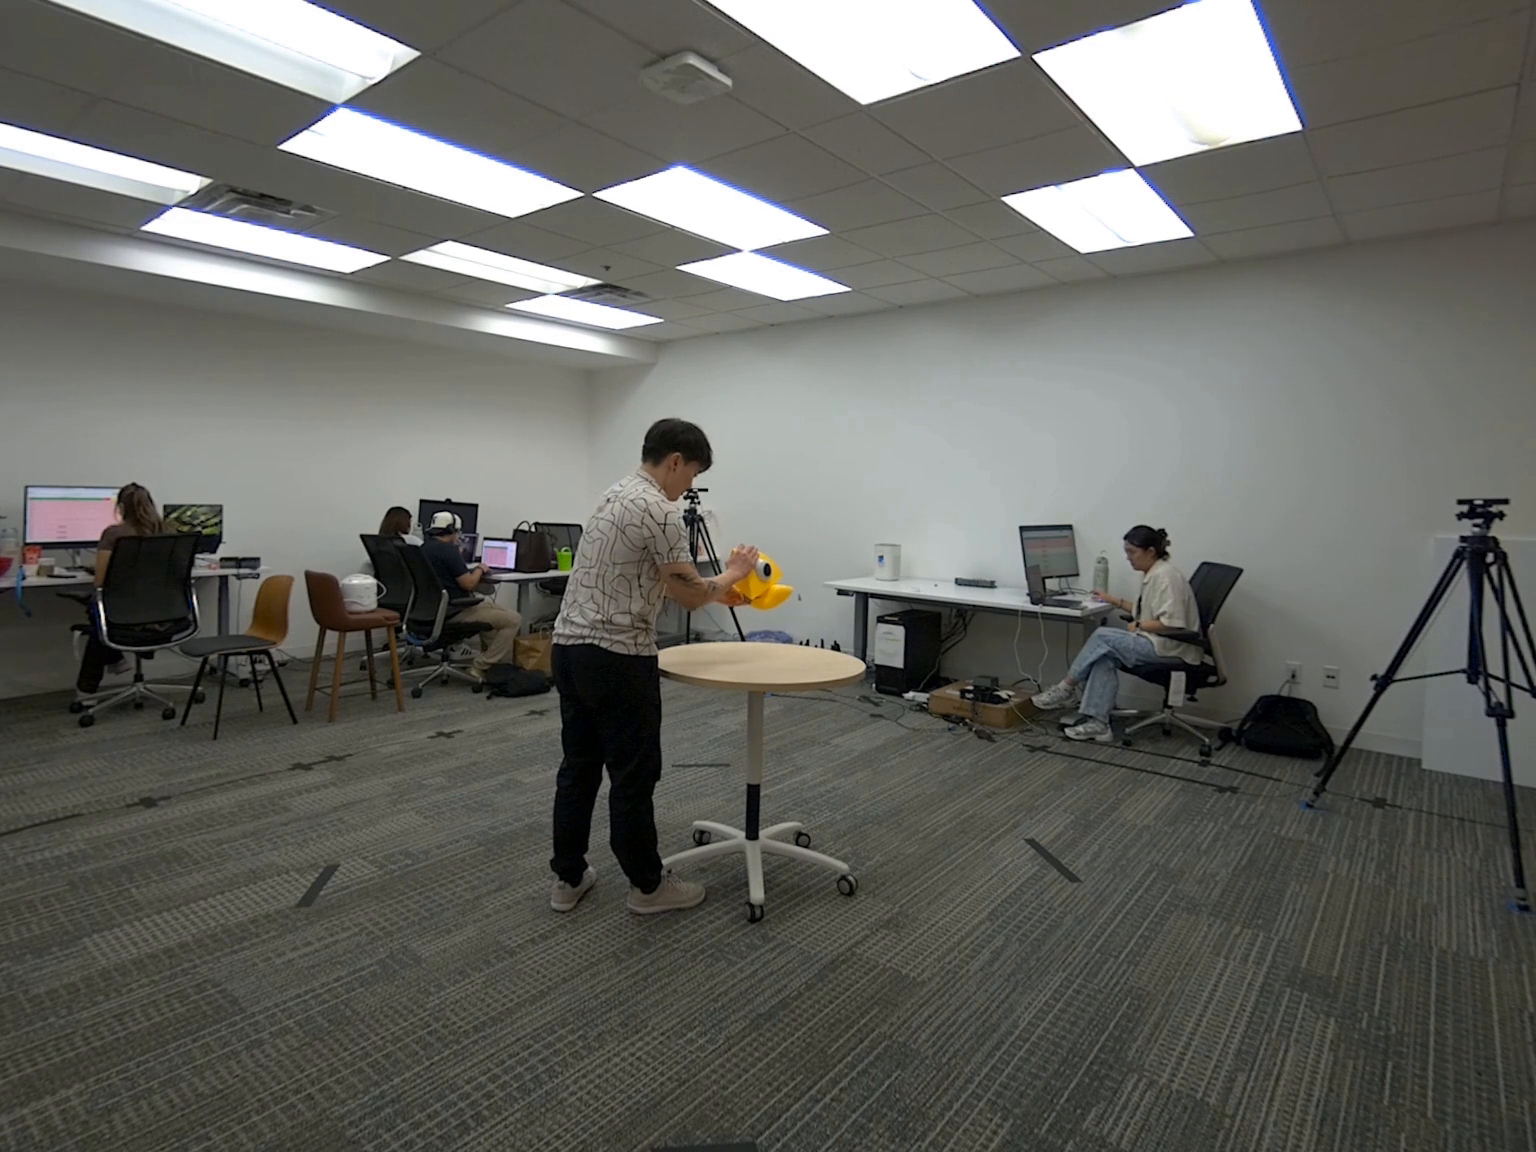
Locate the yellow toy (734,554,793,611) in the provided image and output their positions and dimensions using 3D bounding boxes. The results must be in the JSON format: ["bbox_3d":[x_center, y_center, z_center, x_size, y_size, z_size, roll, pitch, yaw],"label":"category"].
[{"bbox_3d":[-0.054,-0.024,3.000,0.191,0.223,0.213,-29,33,-19],"label":"yellow toy"}]
